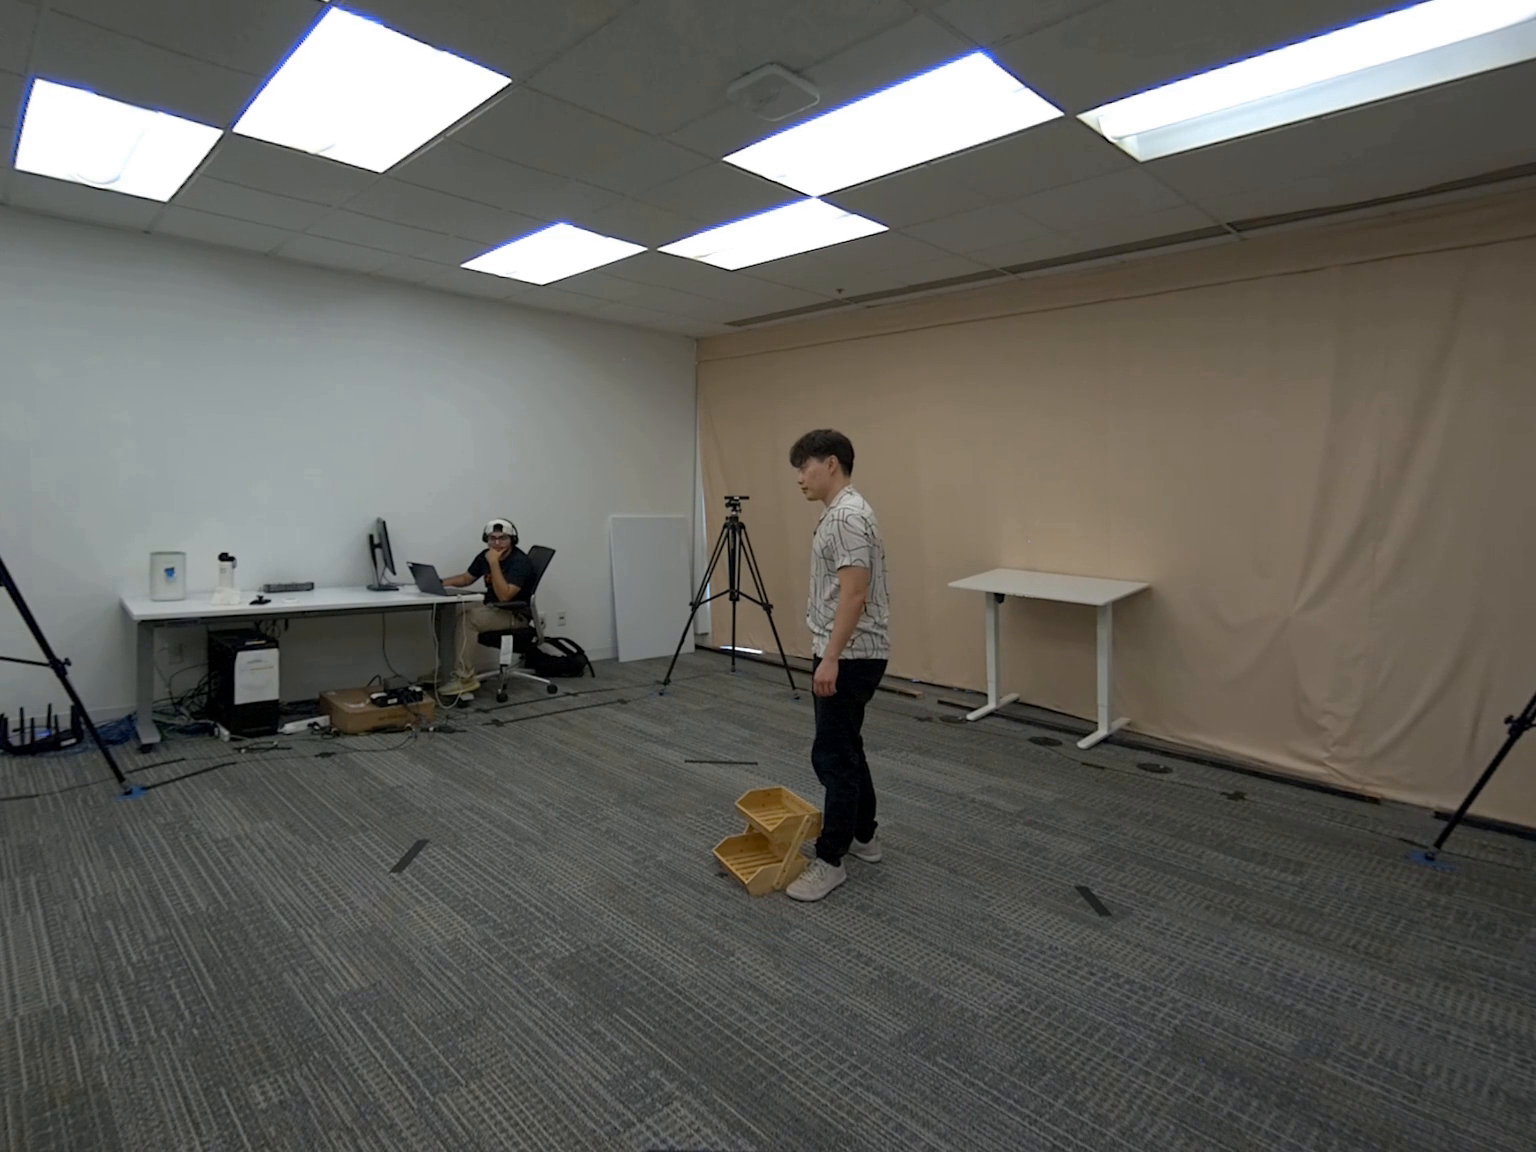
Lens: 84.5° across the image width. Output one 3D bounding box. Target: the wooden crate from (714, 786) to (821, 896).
[{"bbox_3d":[-0.017,0.968,3.125,0.296,0.273,0.331,1,4,-27],"label":"wooden crate"}]
